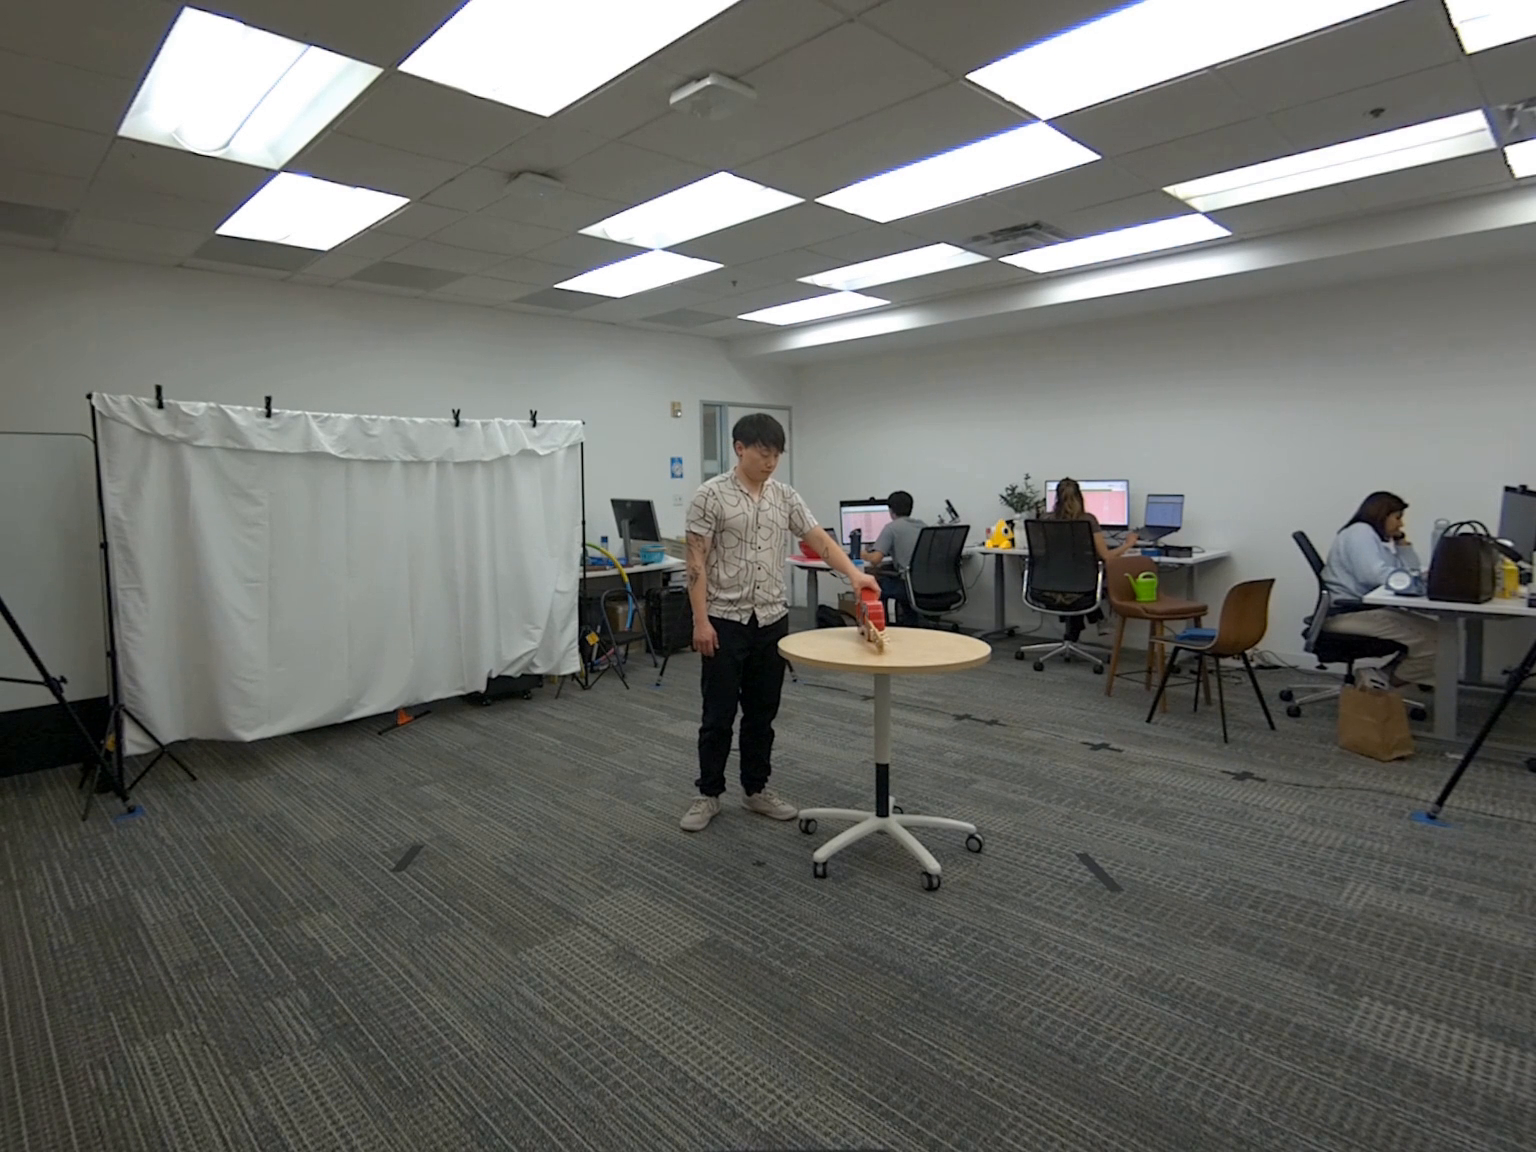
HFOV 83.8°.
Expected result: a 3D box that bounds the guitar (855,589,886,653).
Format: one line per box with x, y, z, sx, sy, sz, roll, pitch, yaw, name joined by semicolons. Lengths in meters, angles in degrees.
0.398;0.206;3.187;0.070;0.189;0.507;0;23;-2;guitar
